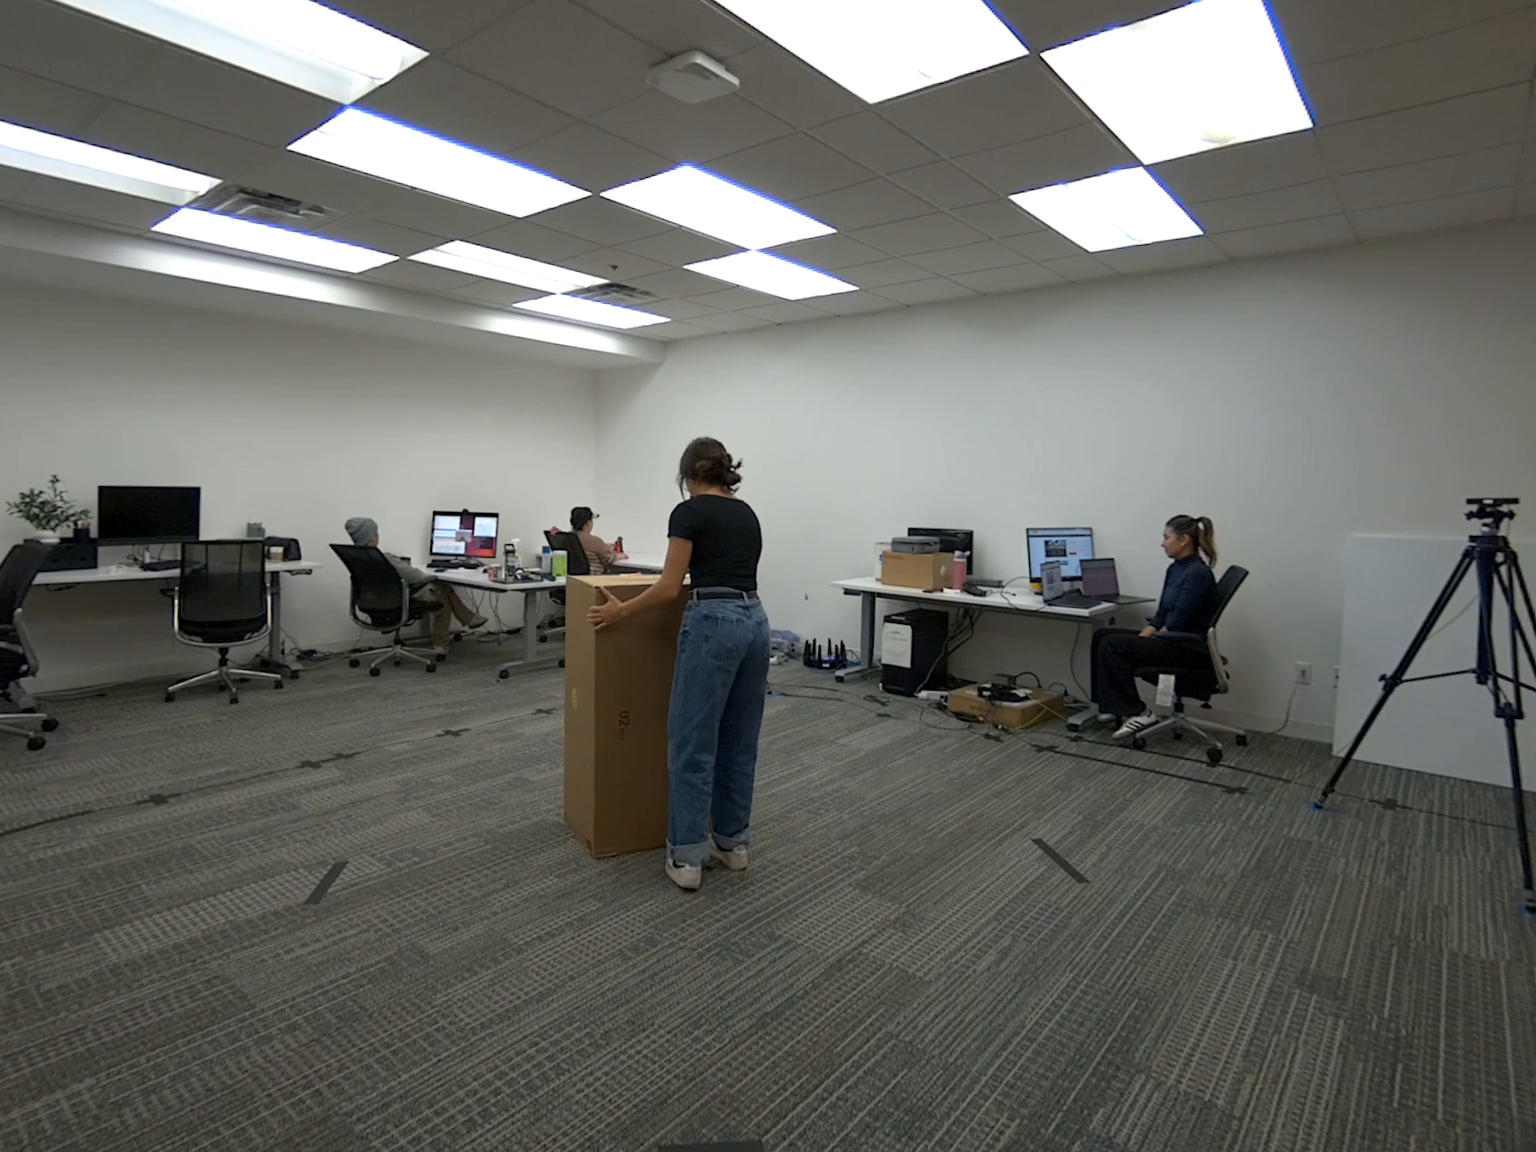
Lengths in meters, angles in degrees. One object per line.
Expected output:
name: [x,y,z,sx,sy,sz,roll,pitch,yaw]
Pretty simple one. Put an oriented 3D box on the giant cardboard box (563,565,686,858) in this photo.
giant cardboard box: [-0.507,0.519,3.461,0.563,1.023,0.438,-1,3,-27]
